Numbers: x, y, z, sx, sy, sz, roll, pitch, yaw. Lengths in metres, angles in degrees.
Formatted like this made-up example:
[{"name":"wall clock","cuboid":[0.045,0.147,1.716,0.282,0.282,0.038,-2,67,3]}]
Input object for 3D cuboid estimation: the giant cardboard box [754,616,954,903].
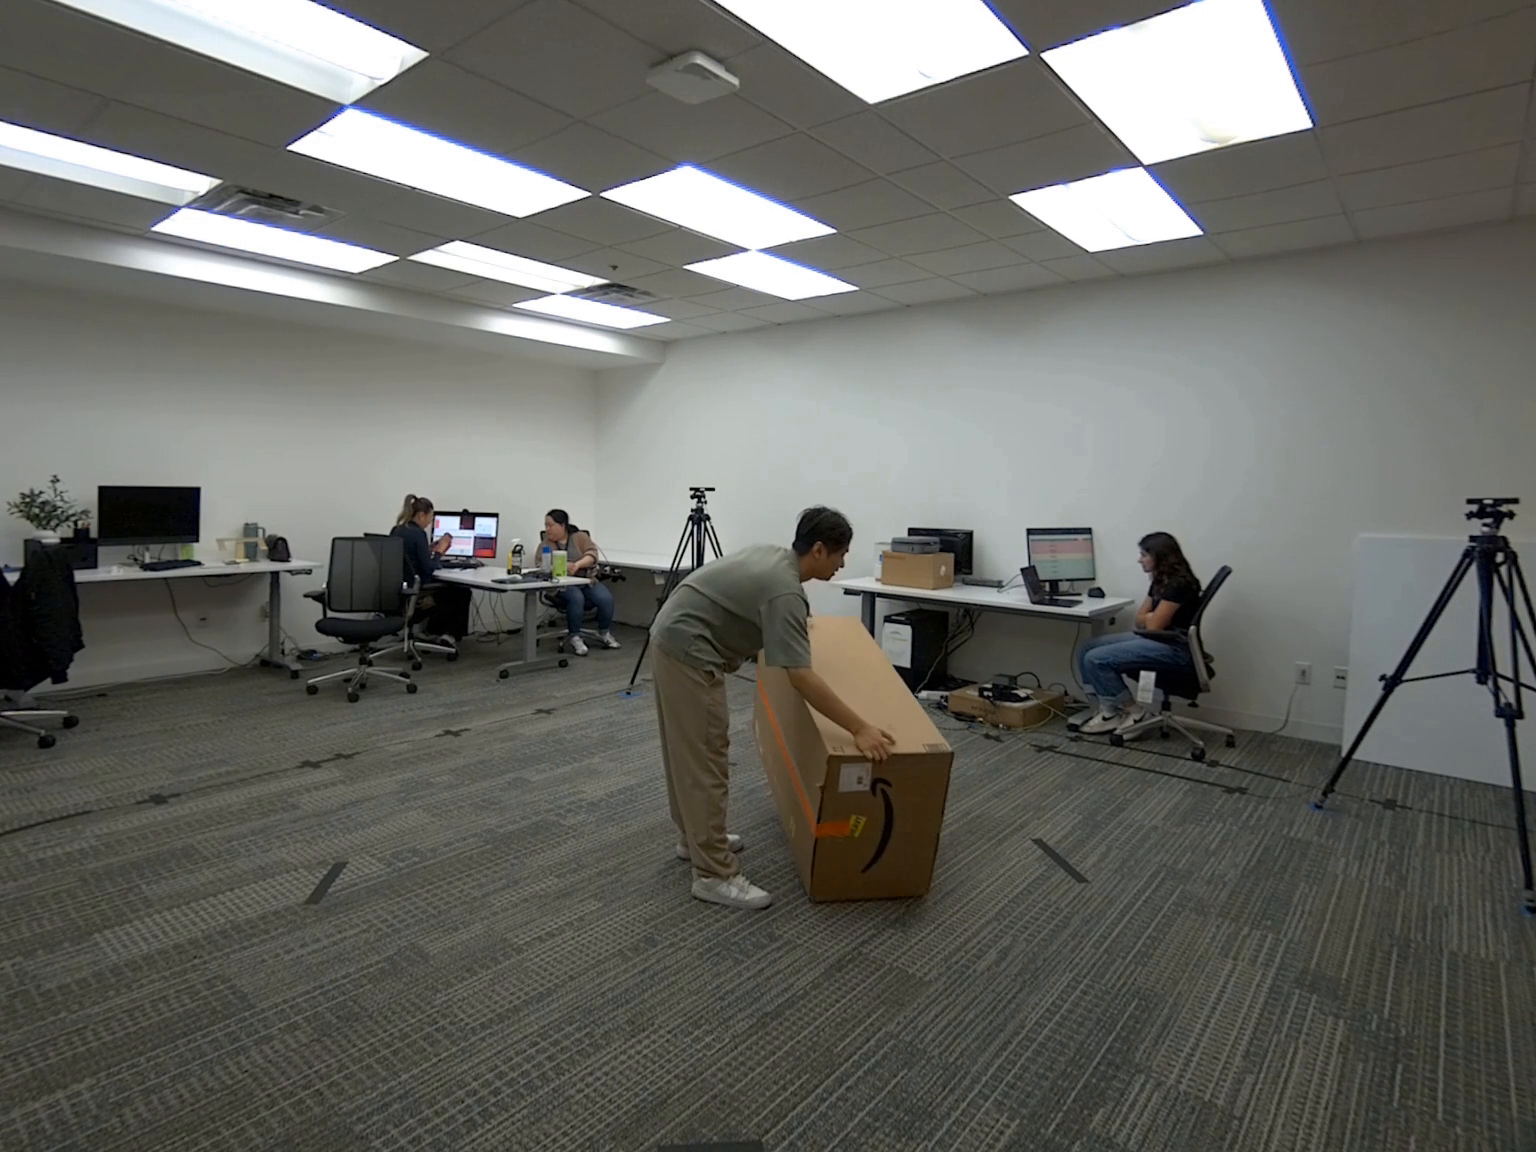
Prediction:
[{"name":"giant cardboard box","cuboid":[0.264,0.638,3.275,0.421,0.568,1.056,1,22,-13]}]
